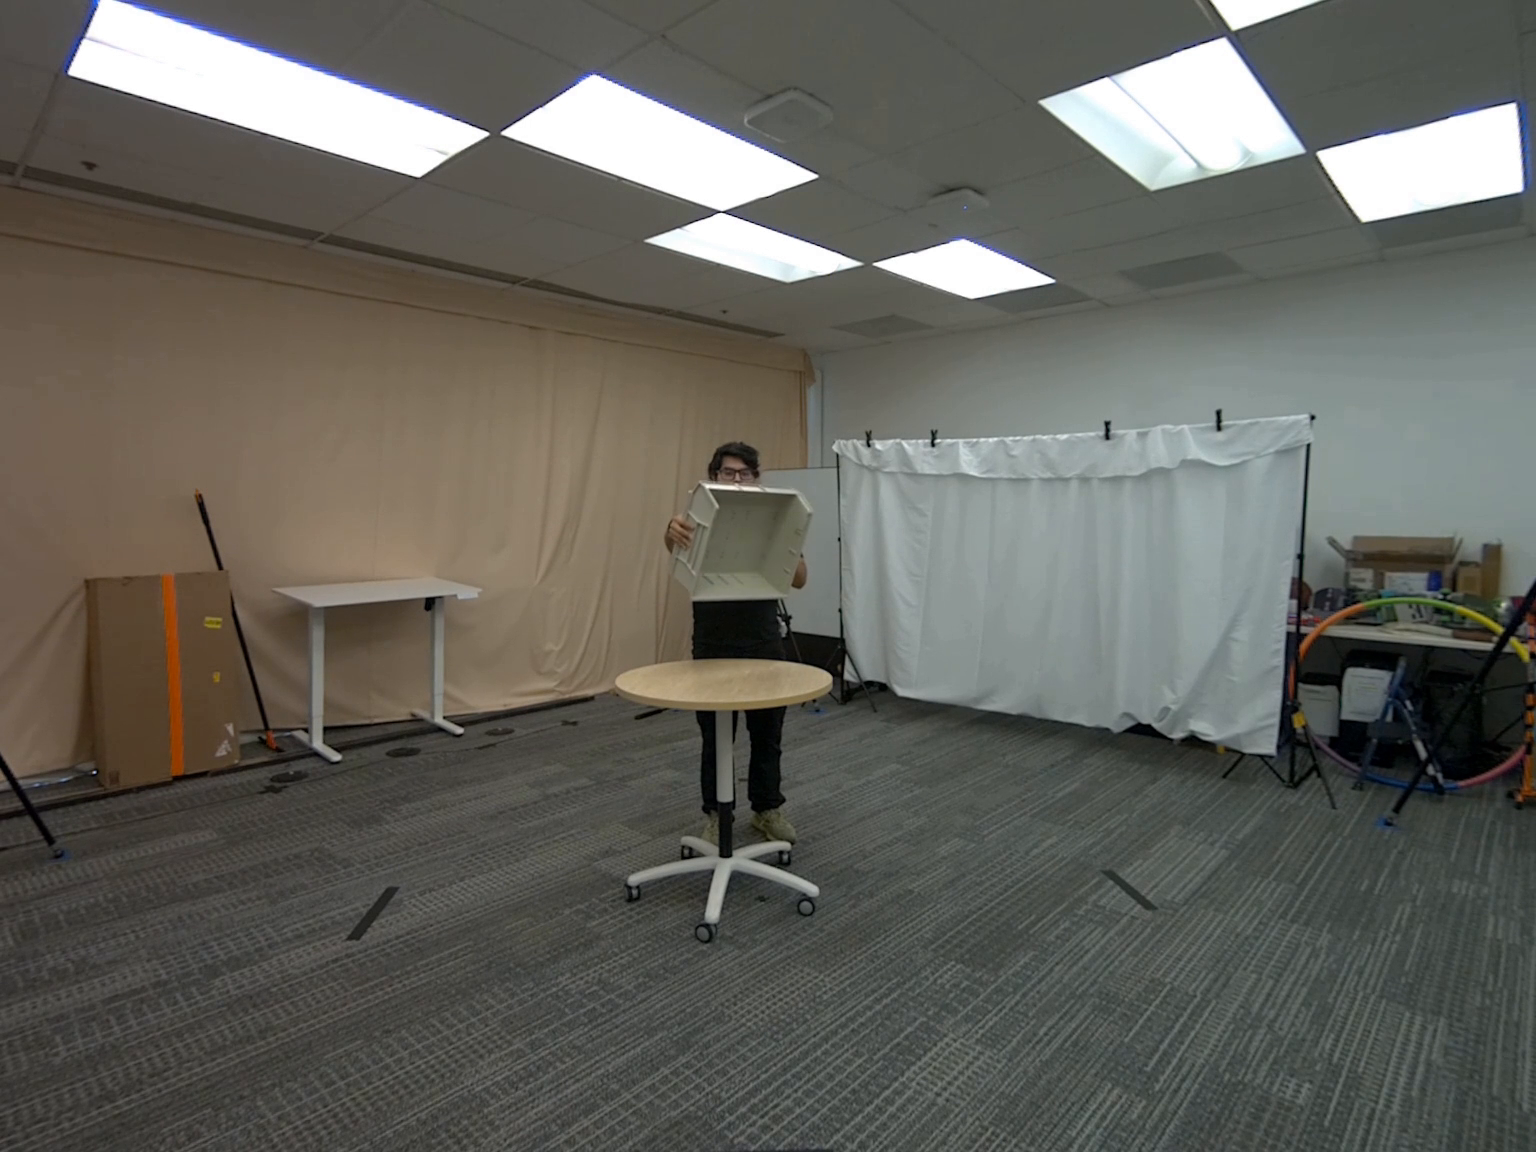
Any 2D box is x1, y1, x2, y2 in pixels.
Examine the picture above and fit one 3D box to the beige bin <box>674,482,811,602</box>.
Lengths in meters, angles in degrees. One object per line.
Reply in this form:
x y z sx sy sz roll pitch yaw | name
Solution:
-0.091 -0.120 2.939 0.409 0.375 0.196 0 26 -37 | beige bin
